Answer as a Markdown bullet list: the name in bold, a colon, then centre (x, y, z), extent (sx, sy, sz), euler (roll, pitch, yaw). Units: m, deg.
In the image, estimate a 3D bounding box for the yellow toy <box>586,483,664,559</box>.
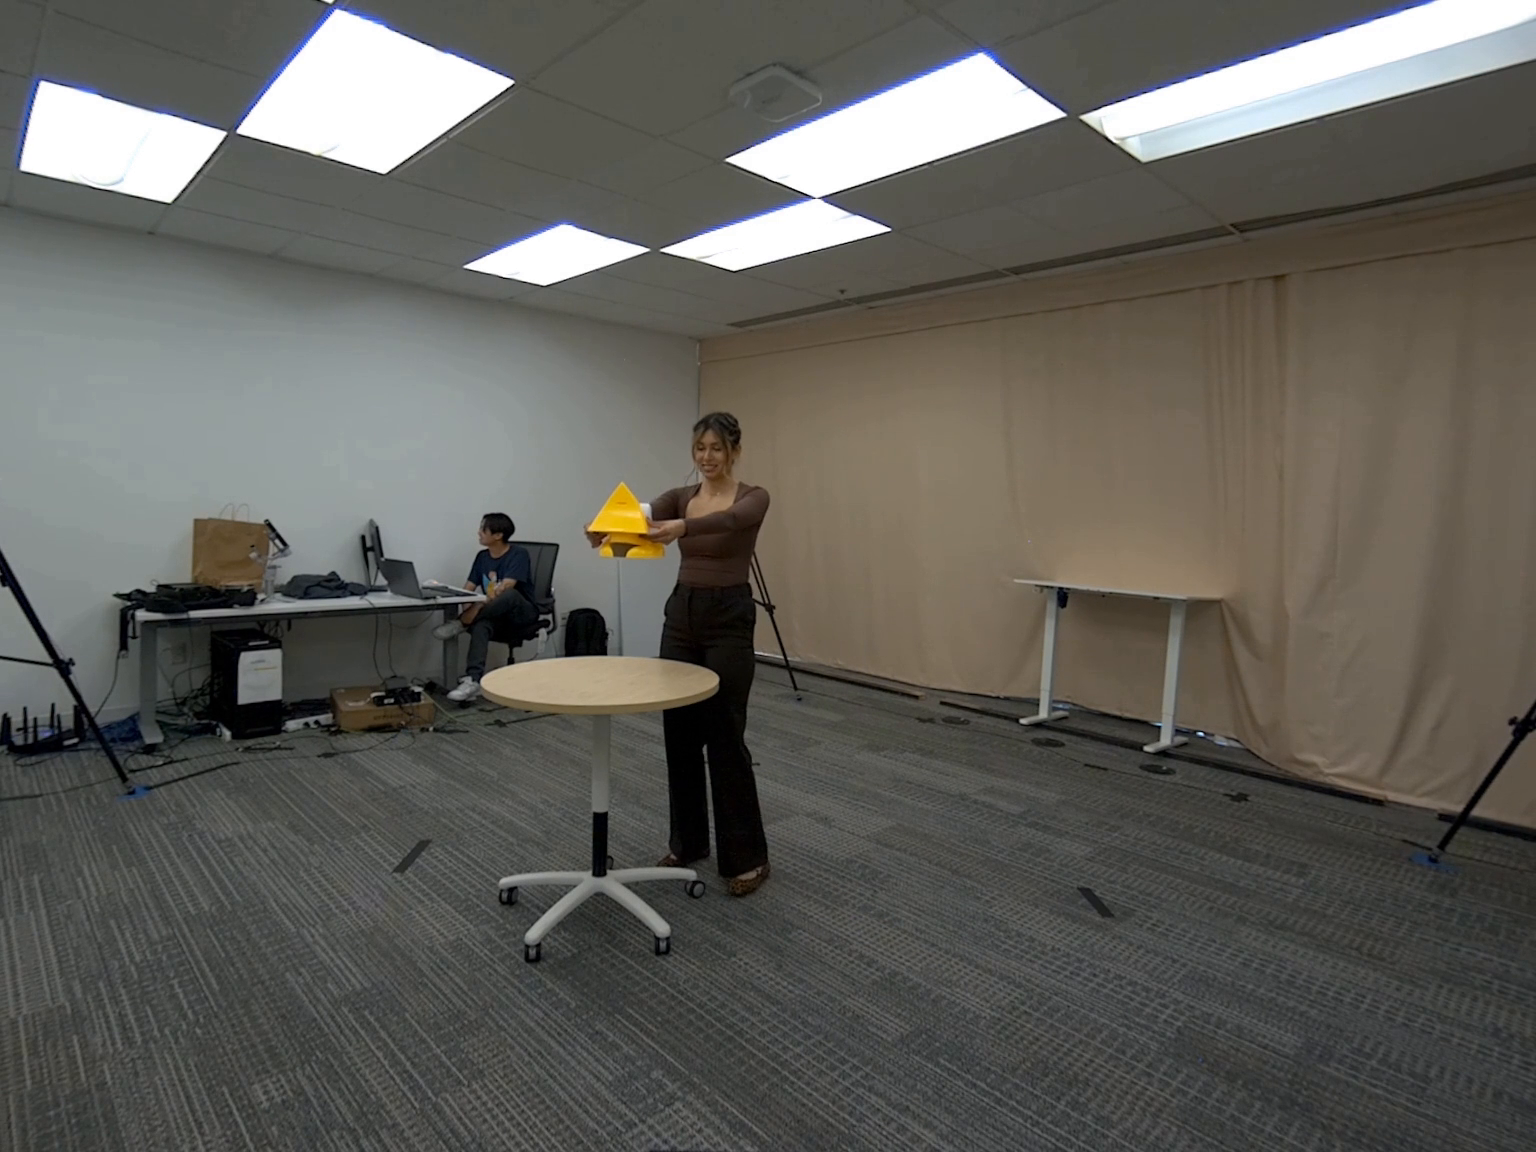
- **yellow toy**: centre (-0.434, -0.175, 2.638), extent (0.208, 0.230, 0.190), euler (3, 4, 22)
